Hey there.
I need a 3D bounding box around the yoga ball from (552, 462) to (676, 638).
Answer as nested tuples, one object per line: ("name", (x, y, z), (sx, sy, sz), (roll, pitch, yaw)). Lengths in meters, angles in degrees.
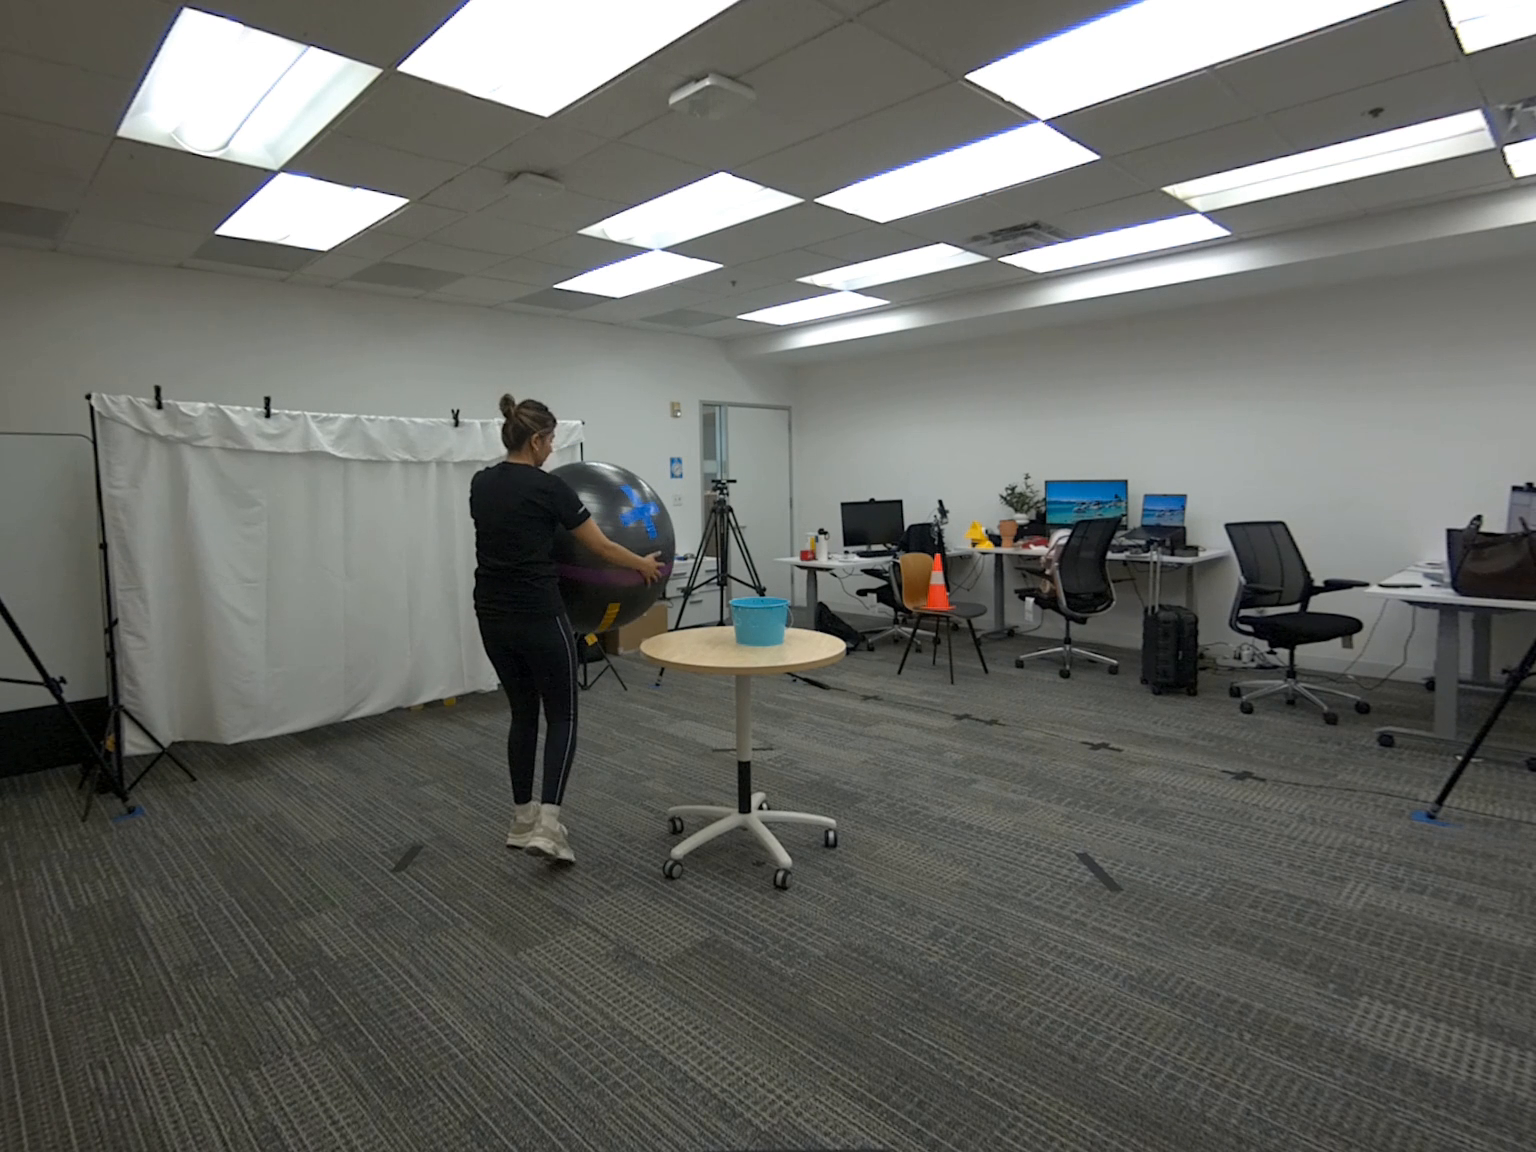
("yoga ball", (-0.800, -0.123, 3.805), (0.757, 0.755, 0.762), (-1, 5, -2))
